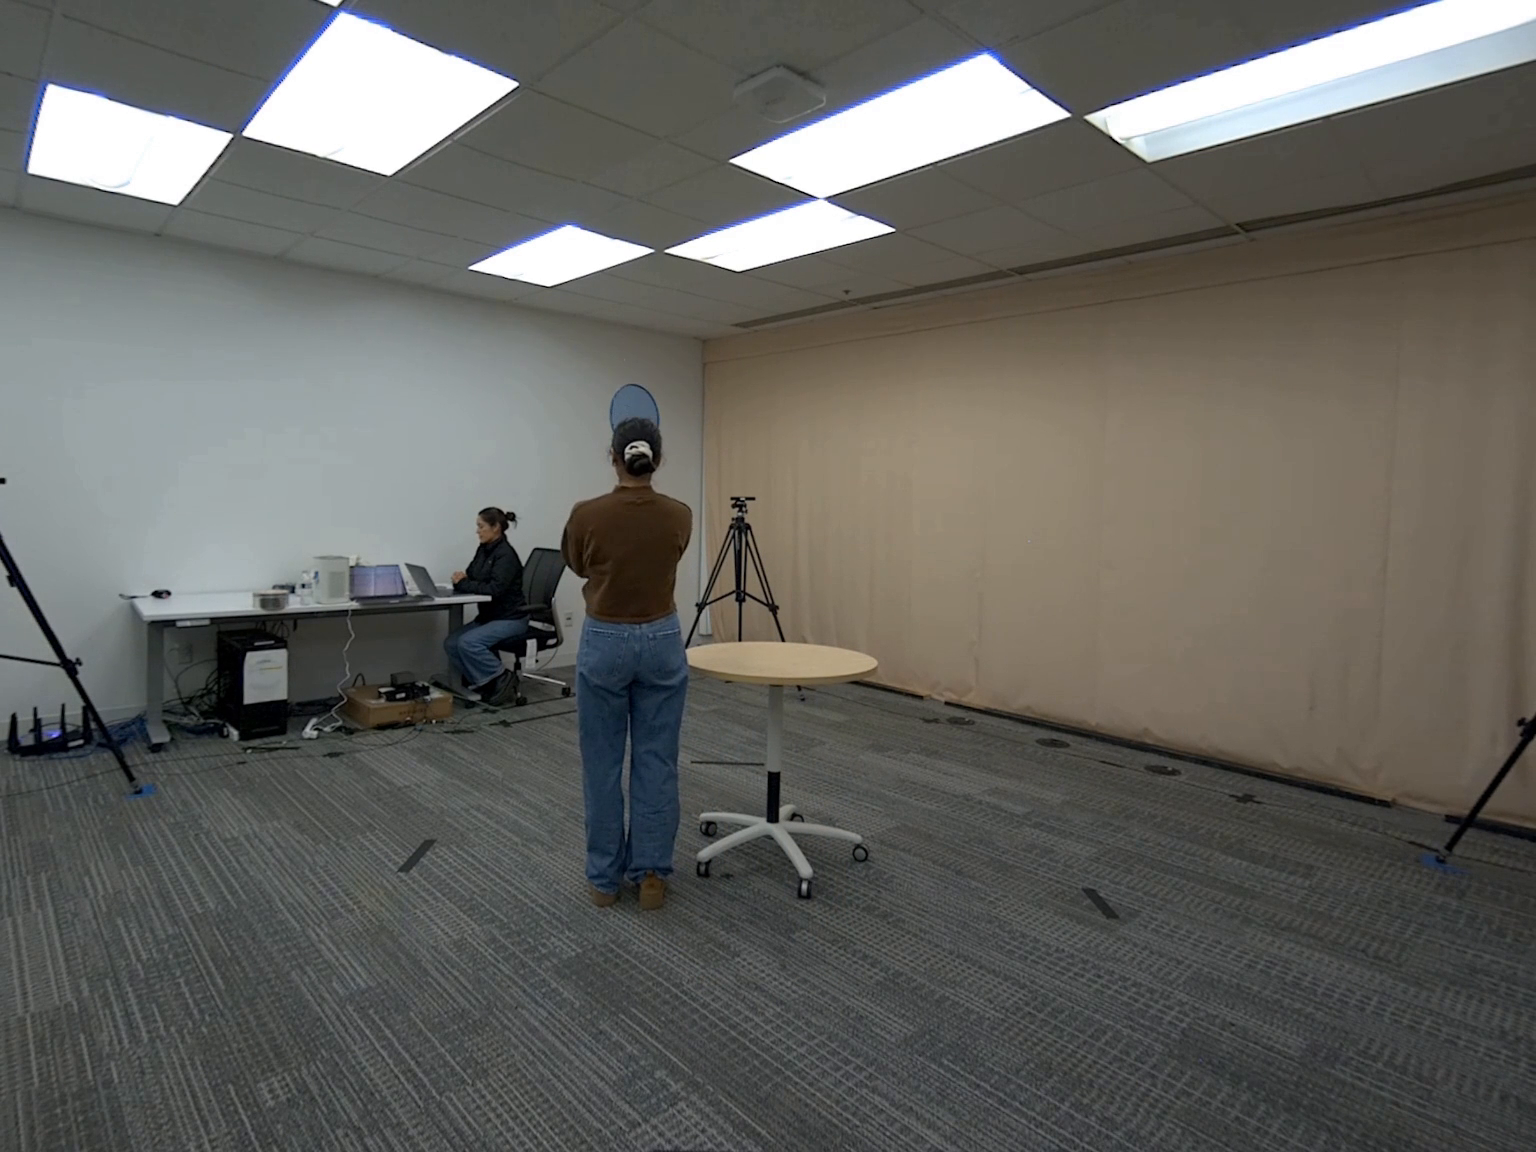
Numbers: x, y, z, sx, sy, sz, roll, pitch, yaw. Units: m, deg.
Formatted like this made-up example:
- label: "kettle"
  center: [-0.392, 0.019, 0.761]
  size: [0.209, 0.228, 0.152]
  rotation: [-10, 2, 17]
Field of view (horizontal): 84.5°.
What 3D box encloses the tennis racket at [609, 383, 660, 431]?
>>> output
- label: "tennis racket"
  center: [-0.509, -0.511, 3.147]
  size: [0.208, 0.438, 0.032]
  rotation: [13, -19, -37]
